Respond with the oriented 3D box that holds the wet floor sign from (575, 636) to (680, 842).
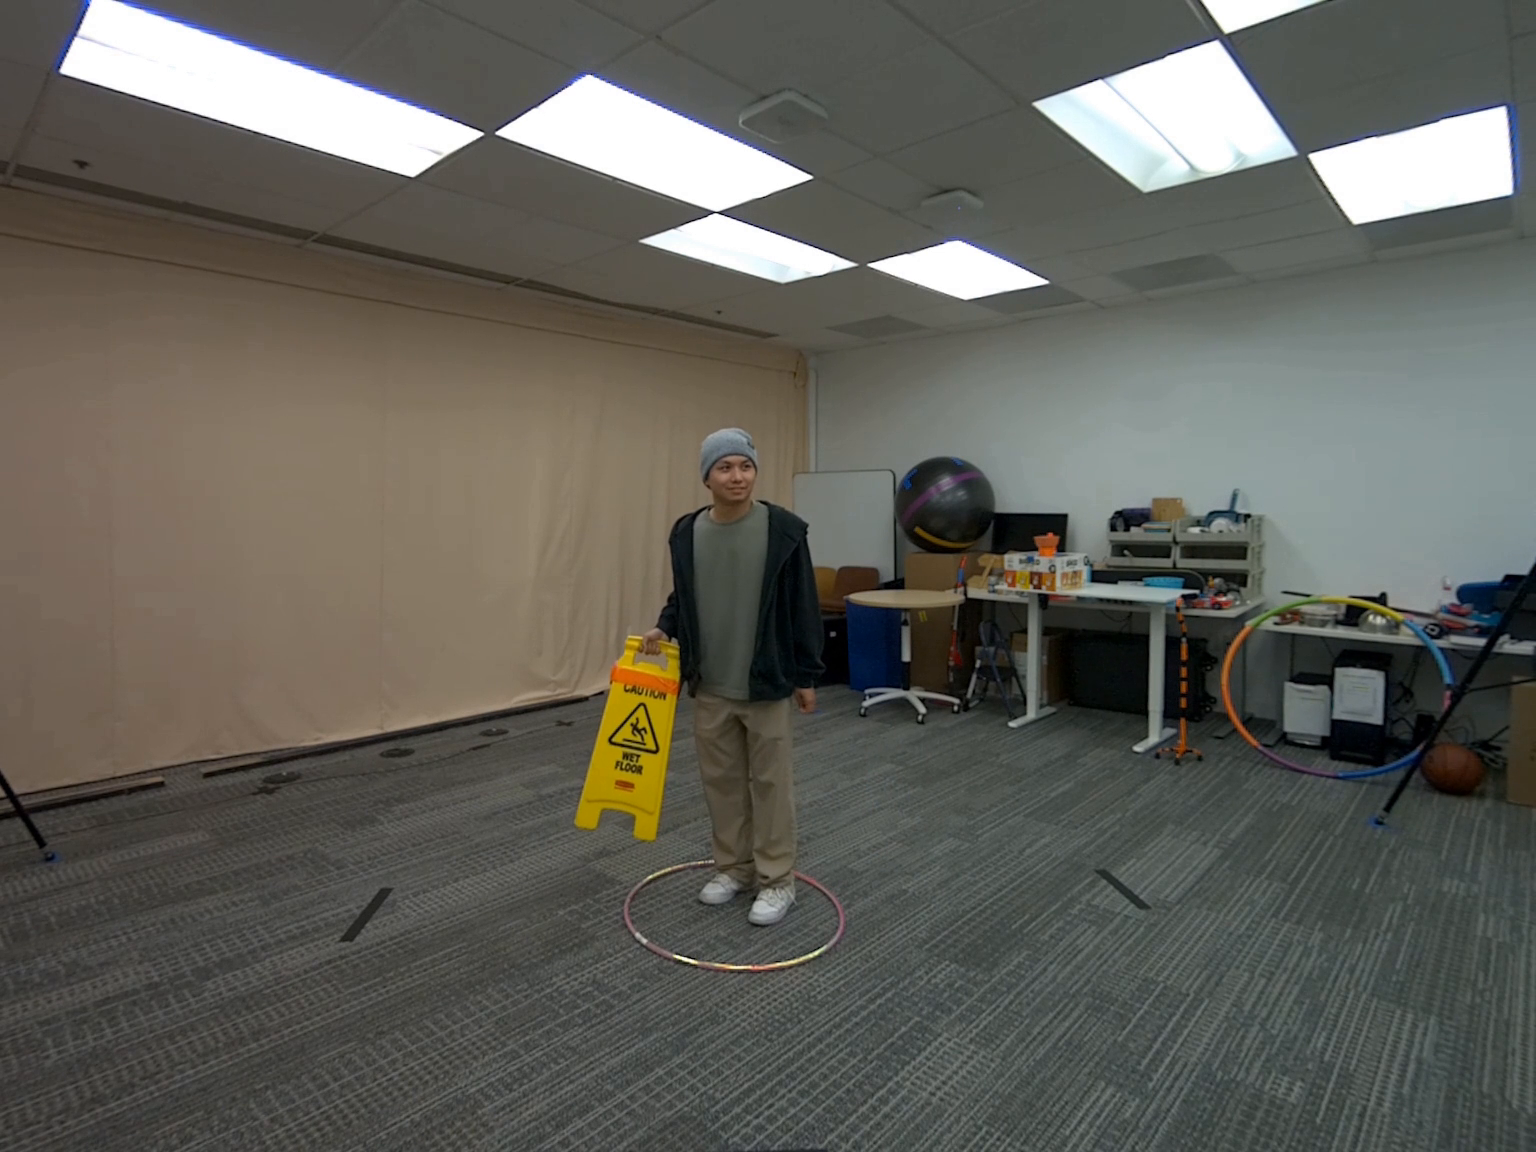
[{"bbox_3d":[-0.454,0.541,2.955,0.282,0.646,0.290,8,-1,-2],"label":"wet floor sign"}]
